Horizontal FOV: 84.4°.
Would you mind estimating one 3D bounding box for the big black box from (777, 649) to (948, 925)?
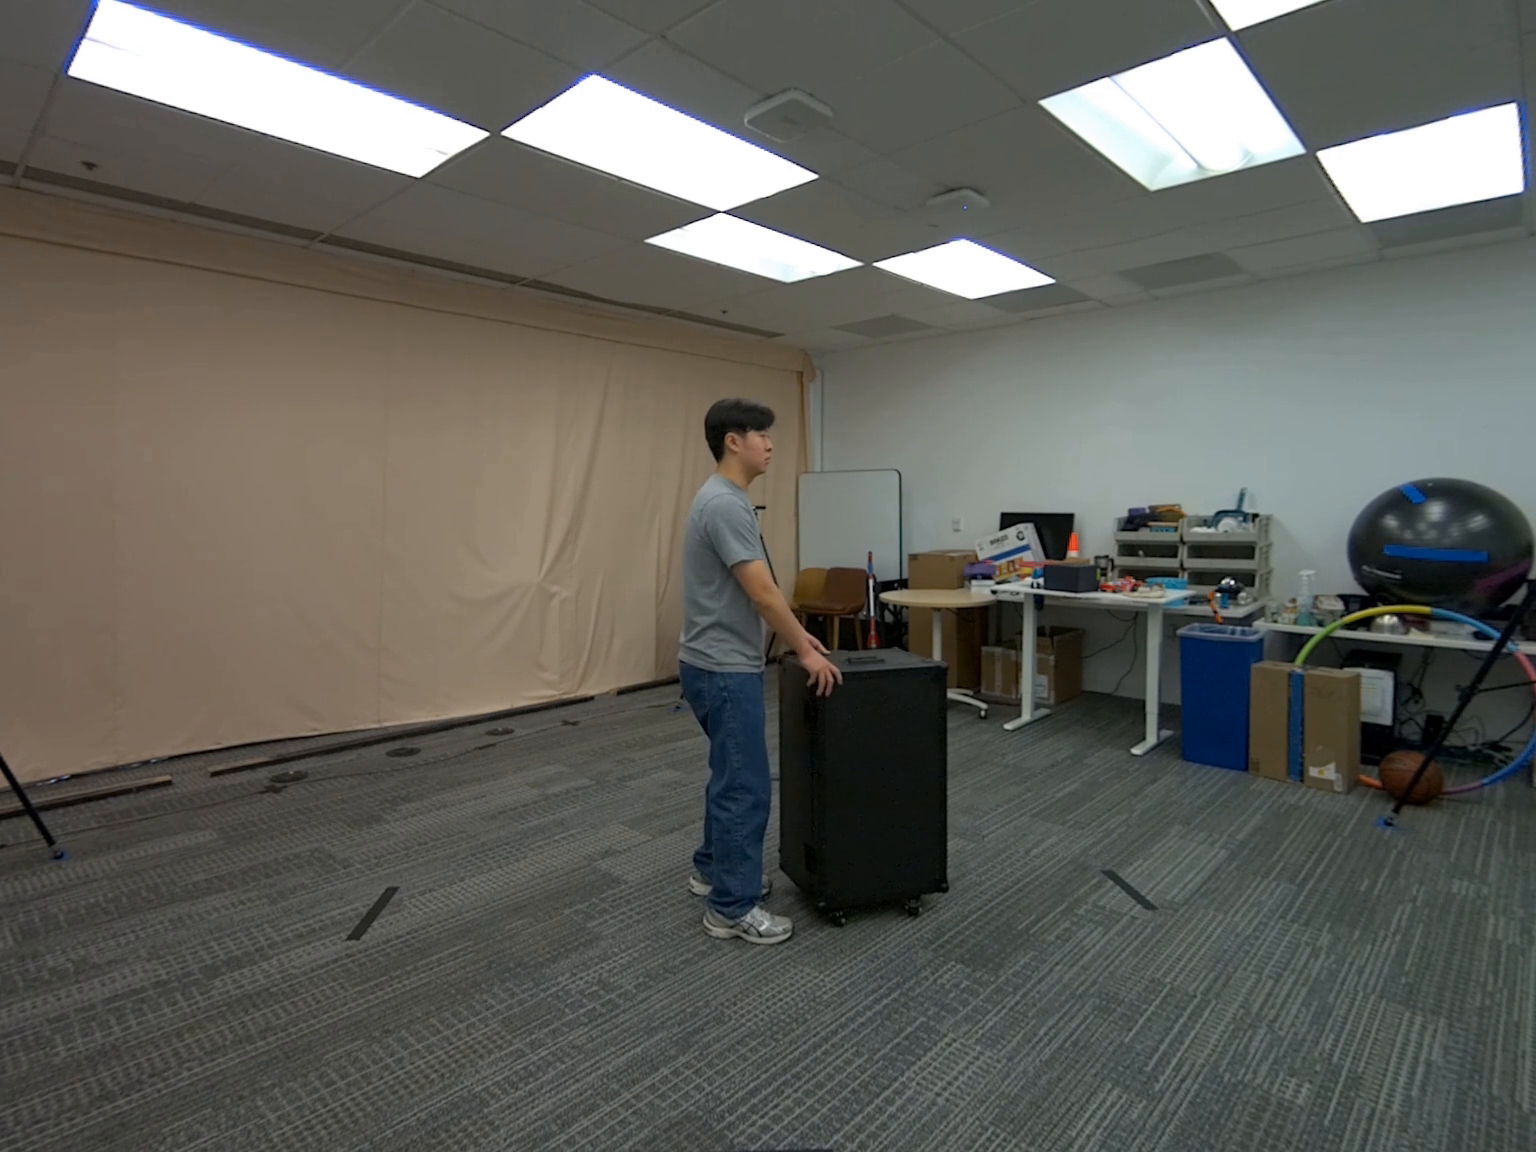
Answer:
[{"bbox_3d":[0.324,0.724,2.963,0.512,0.861,0.403,-1,1,-17],"label":"big black box"}]
